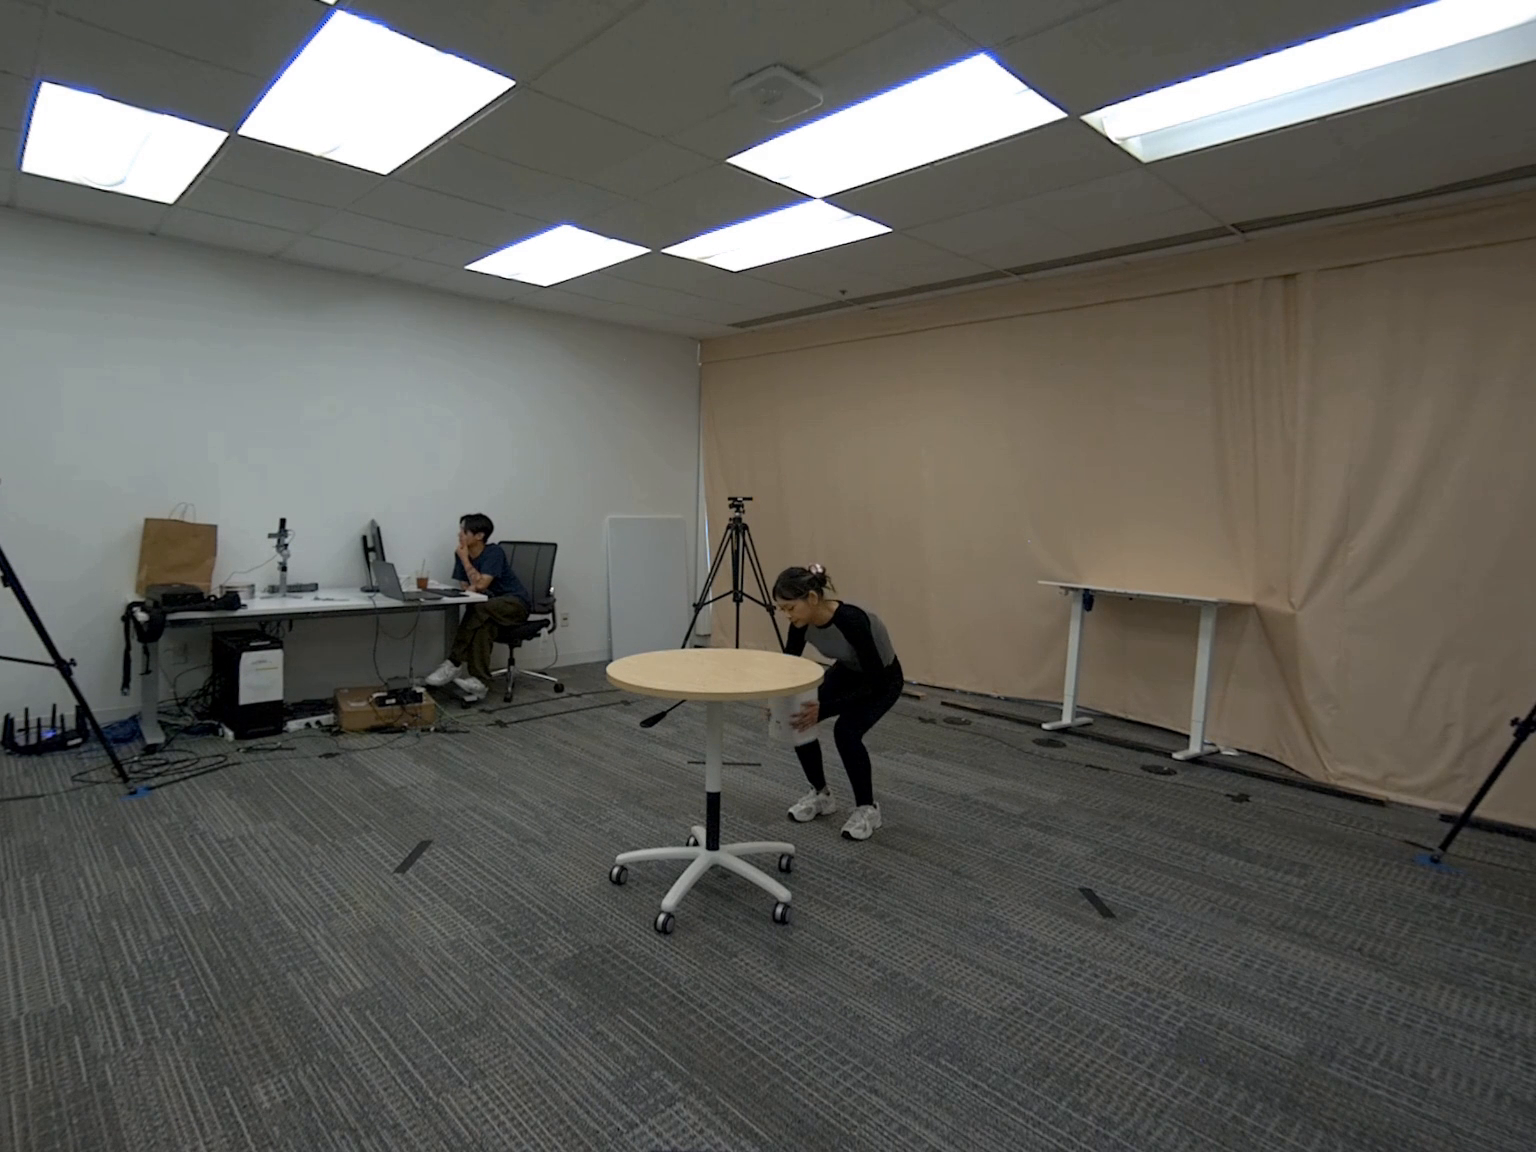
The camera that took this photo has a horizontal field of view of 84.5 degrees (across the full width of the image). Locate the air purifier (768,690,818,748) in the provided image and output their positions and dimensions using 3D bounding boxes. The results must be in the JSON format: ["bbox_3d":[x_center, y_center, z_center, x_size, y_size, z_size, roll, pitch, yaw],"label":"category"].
[{"bbox_3d":[0.102,0.537,3.423,0.168,0.264,0.175,-6,9,-42],"label":"air purifier"}]
